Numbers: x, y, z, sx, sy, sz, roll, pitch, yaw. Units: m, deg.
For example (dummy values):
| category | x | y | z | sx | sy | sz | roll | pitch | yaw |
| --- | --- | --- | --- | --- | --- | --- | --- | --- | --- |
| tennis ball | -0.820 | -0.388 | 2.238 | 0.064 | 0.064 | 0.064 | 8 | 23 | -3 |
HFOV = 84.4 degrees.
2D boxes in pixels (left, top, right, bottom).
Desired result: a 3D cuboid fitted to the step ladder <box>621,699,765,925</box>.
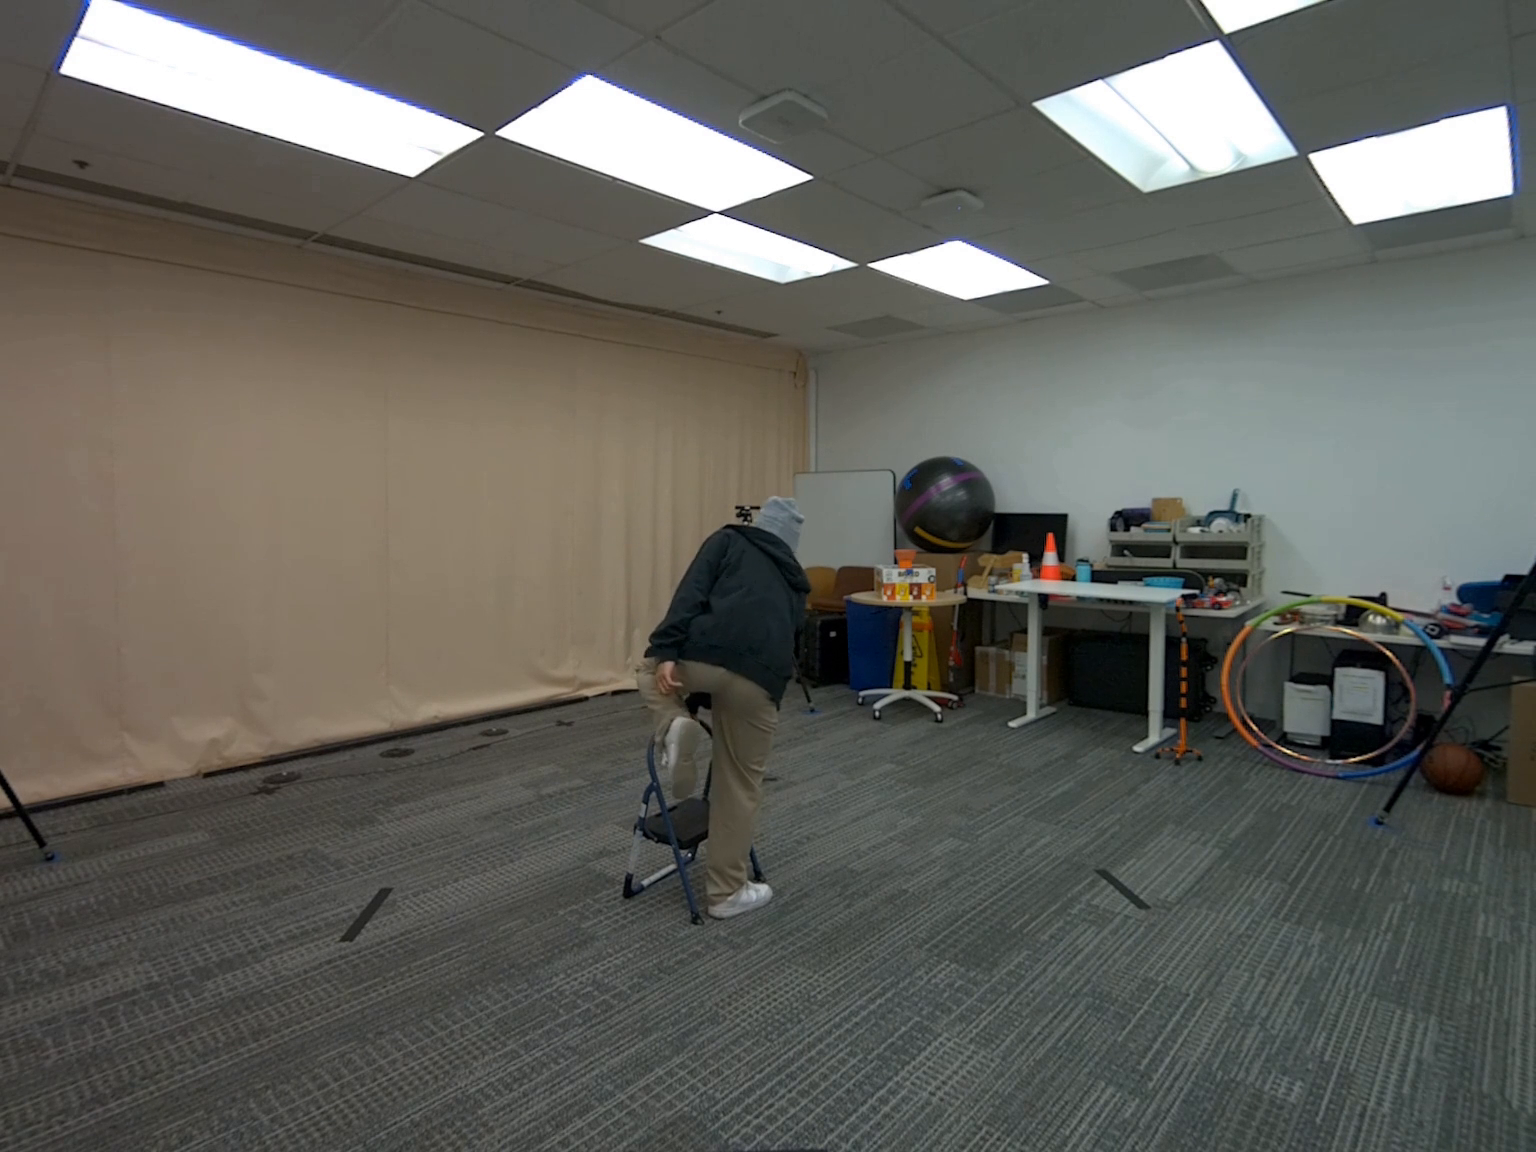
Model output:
| category | x | y | z | sx | sy | sz | roll | pitch | yaw |
| --- | --- | --- | --- | --- | --- | --- | --- | --- | --- |
| step ladder | -0.269 | 0.840 | 3.054 | 0.360 | 0.605 | 0.418 | 2 | 4 | 32 |
